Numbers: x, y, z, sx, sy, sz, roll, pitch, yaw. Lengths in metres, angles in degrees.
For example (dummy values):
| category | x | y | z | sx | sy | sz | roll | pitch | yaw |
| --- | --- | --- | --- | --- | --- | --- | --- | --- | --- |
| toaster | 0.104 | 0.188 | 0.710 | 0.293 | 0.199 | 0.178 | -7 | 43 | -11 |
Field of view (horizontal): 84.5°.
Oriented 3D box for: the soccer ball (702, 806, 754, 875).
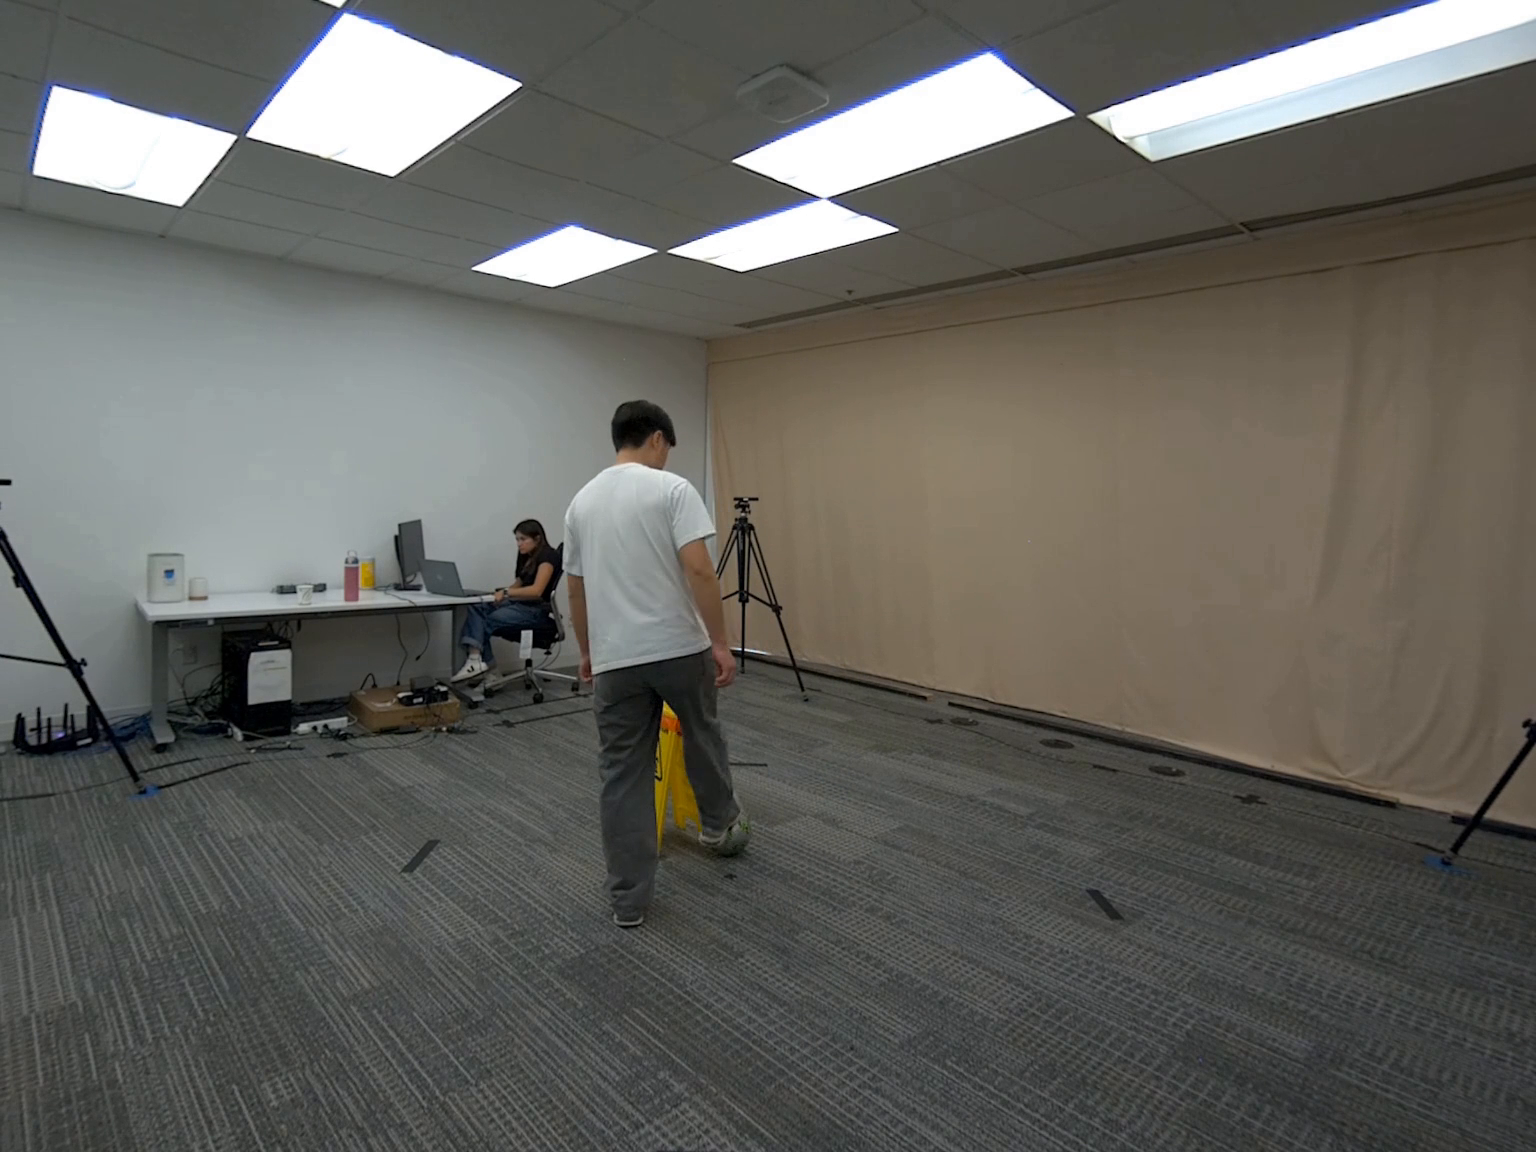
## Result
| category | x | y | z | sx | sy | sz | roll | pitch | yaw |
| --- | --- | --- | --- | --- | --- | --- | --- | --- | --- |
| soccer ball | -0.156 | 1.012 | 3.262 | 0.187 | 0.187 | 0.188 | 1 | 4 | -1 |
